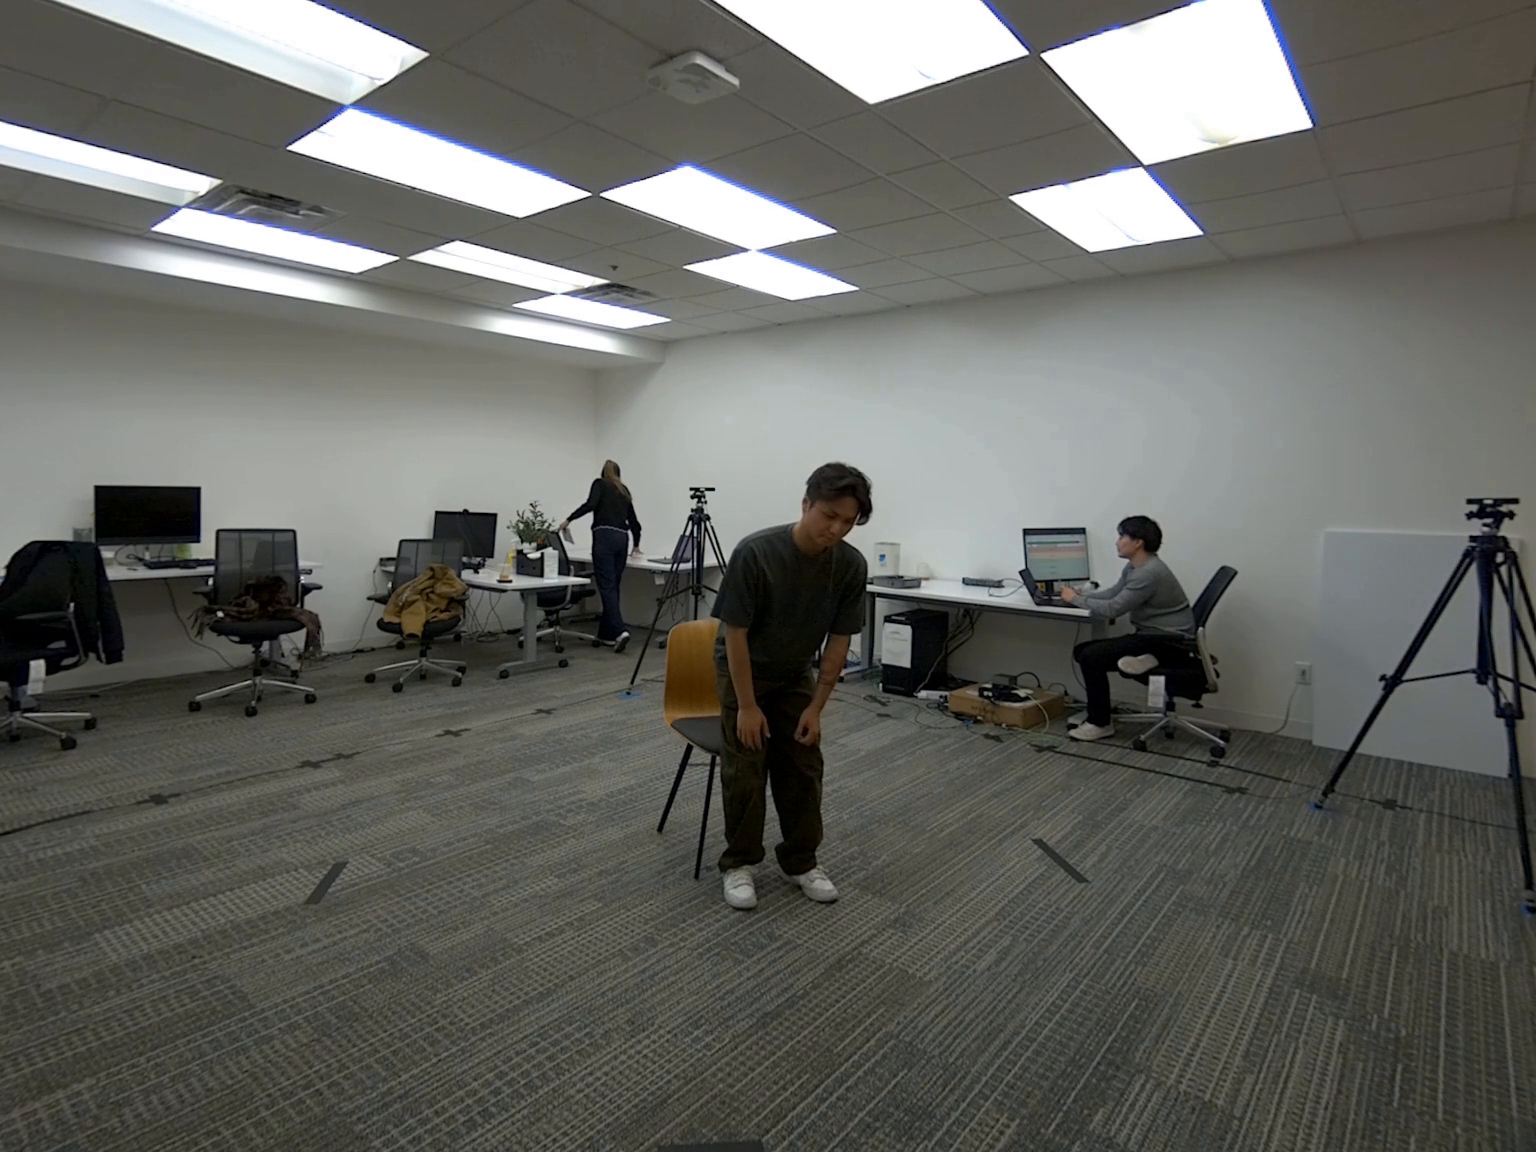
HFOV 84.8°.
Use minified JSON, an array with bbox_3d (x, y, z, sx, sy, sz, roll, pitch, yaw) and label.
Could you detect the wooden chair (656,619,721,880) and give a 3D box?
[{"bbox_3d":[-0.150,0.622,3.278,0.467,0.878,0.535,0,-1,-23],"label":"wooden chair"}]
